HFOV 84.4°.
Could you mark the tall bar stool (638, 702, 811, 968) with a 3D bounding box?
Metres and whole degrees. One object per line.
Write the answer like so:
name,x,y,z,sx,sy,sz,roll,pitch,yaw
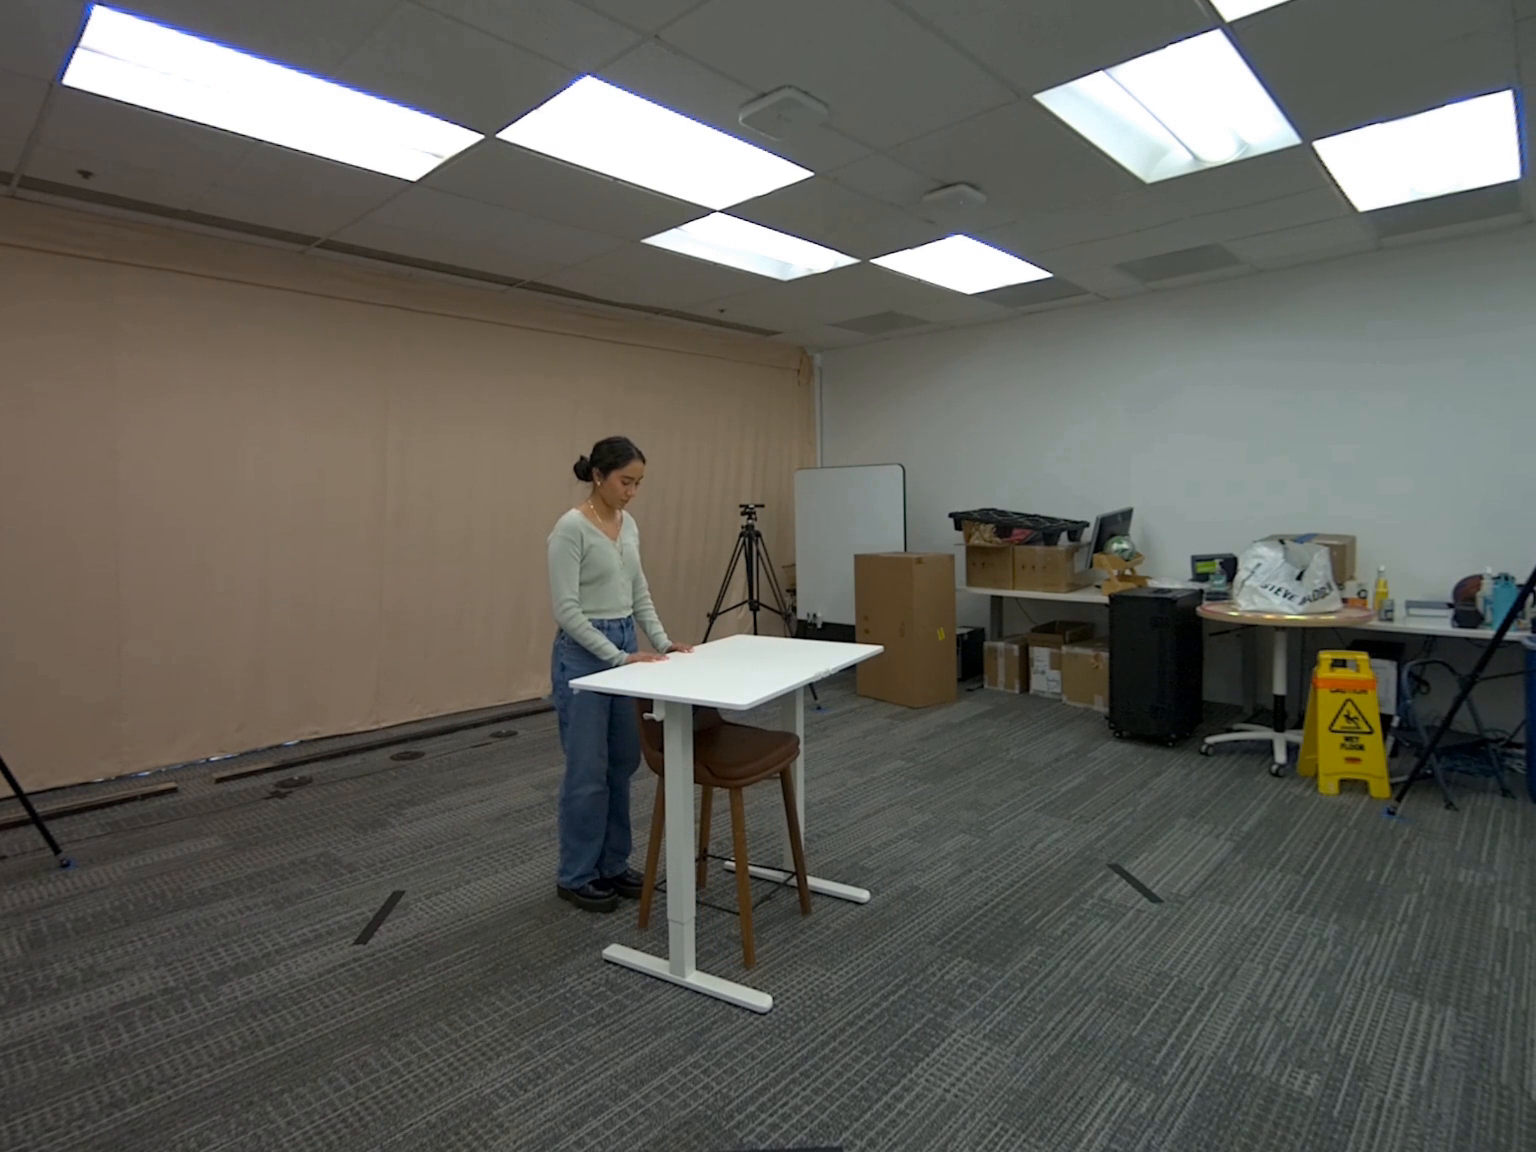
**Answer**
tall bar stool,-0.158,0.726,2.791,0.481,0.888,0.444,-1,3,31
